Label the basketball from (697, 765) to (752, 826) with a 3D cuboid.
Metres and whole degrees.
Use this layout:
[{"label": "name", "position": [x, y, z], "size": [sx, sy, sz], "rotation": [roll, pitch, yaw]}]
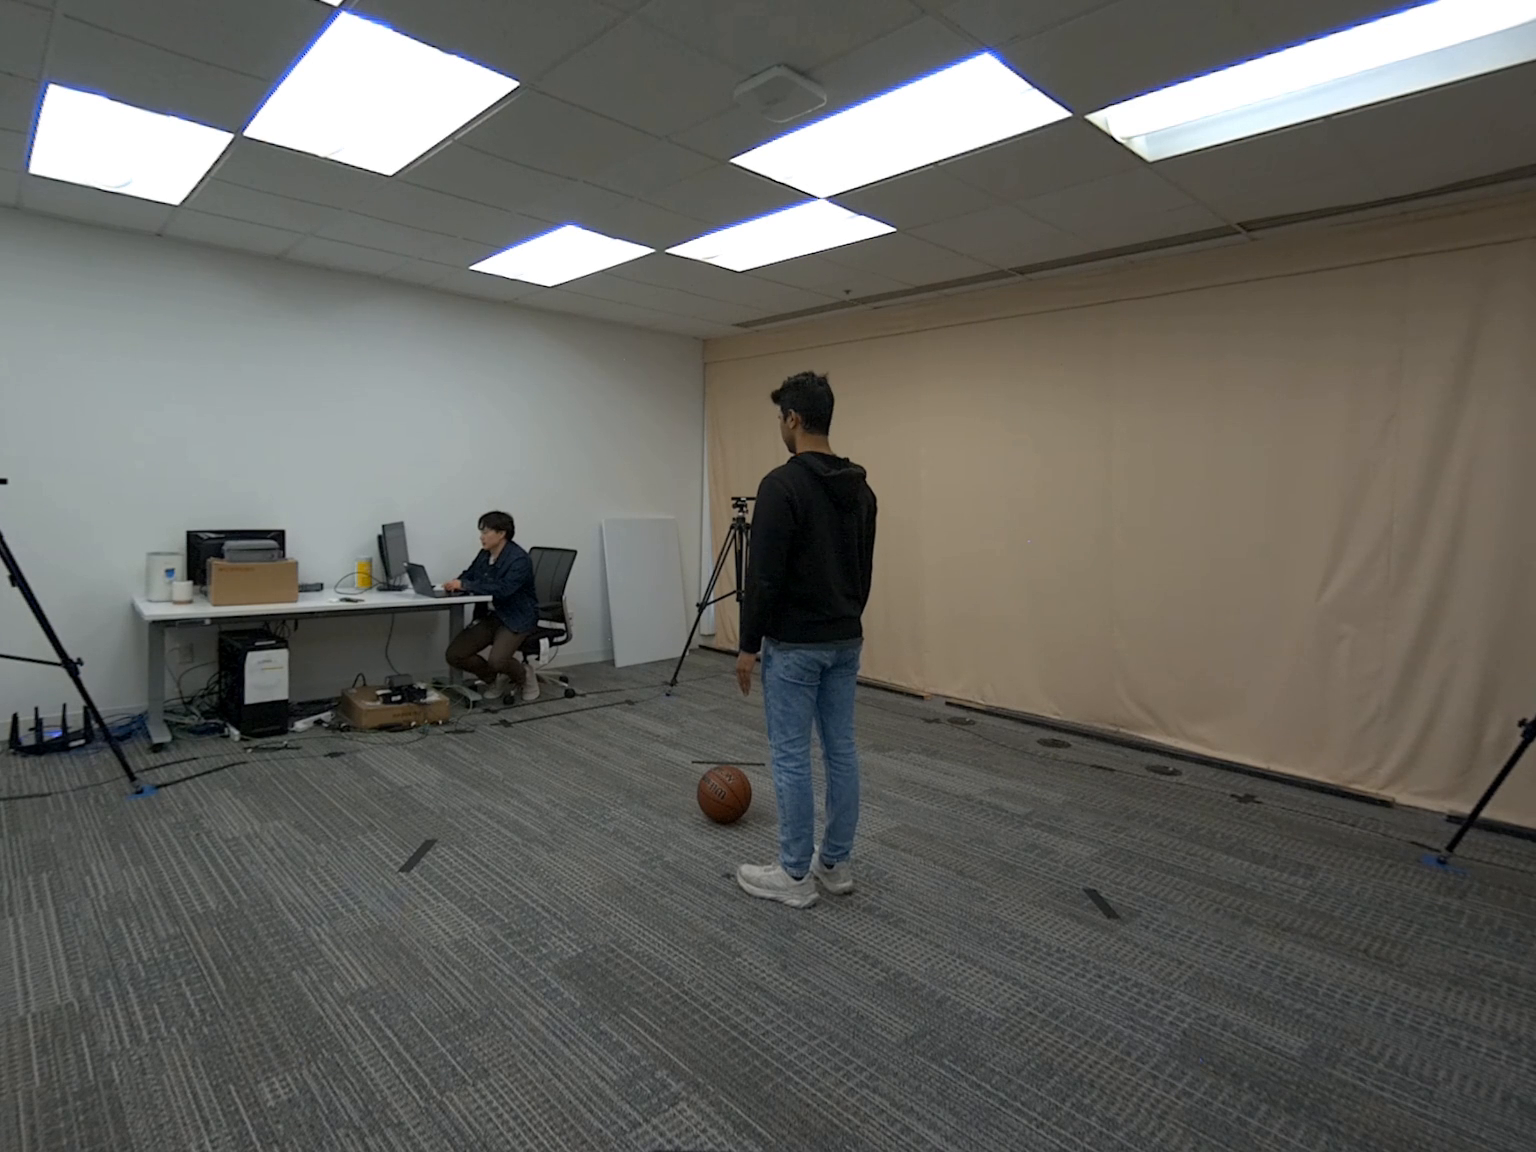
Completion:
[{"label": "basketball", "position": [-0.198, 0.939, 3.636], "size": [0.236, 0.235, 0.237], "rotation": [1, 4, -1]}]
